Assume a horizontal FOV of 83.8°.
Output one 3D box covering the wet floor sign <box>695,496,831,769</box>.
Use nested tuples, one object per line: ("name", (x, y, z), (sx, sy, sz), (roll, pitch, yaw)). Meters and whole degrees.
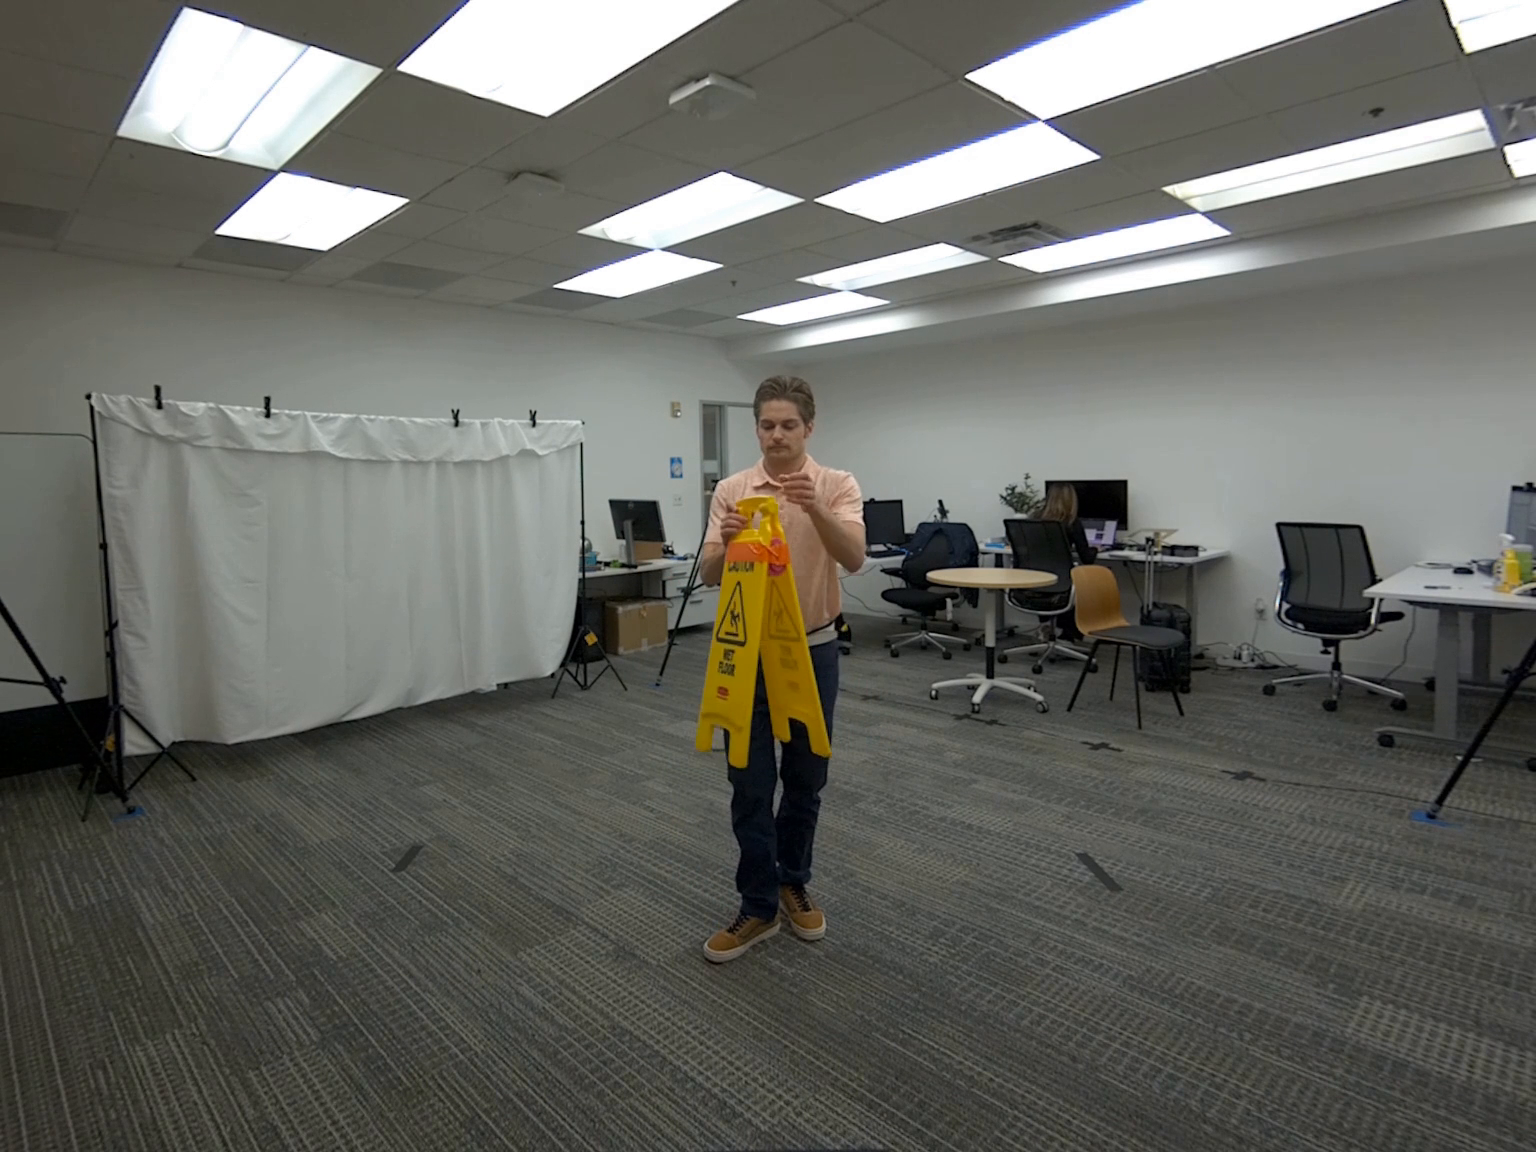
("wet floor sign", (-0.025, 0.127, 2.180), (0.283, 0.647, 0.288), (-1, -2, -25))
